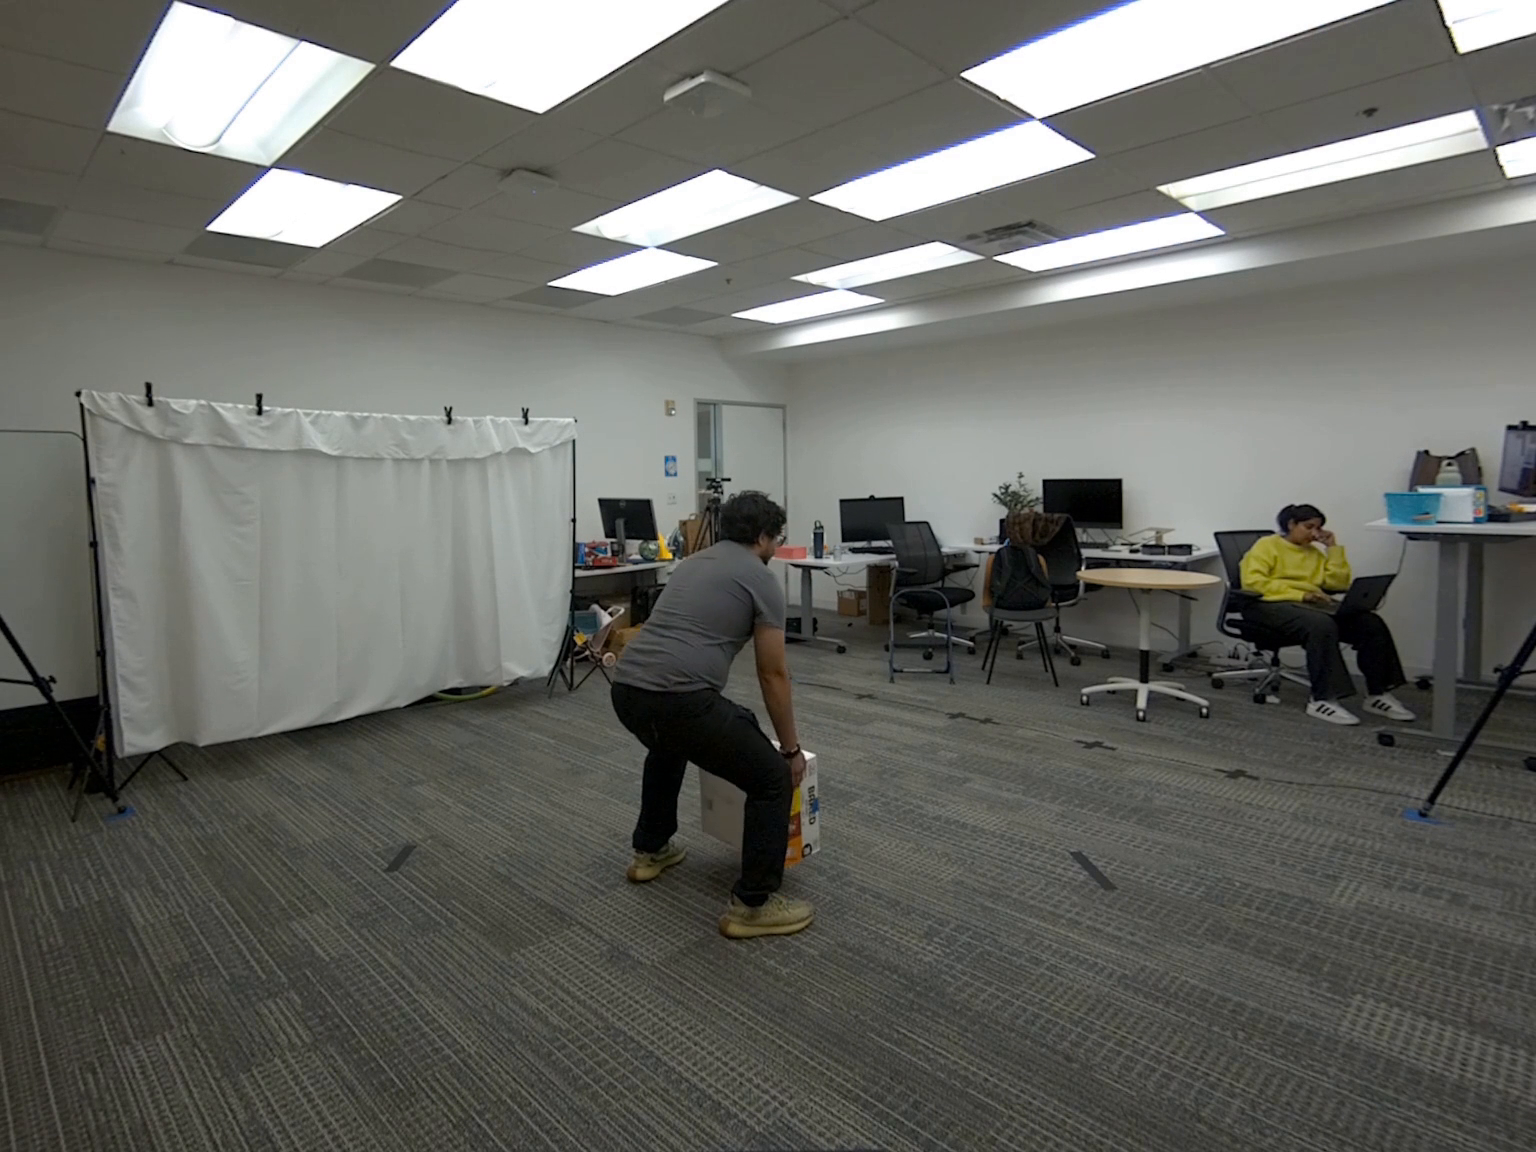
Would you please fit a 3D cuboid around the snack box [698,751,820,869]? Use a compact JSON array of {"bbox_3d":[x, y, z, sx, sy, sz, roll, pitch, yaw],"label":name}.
[{"bbox_3d":[-0.028,0.772,3.024,0.201,0.338,0.418,-9,10,-43],"label":"snack box"}]
